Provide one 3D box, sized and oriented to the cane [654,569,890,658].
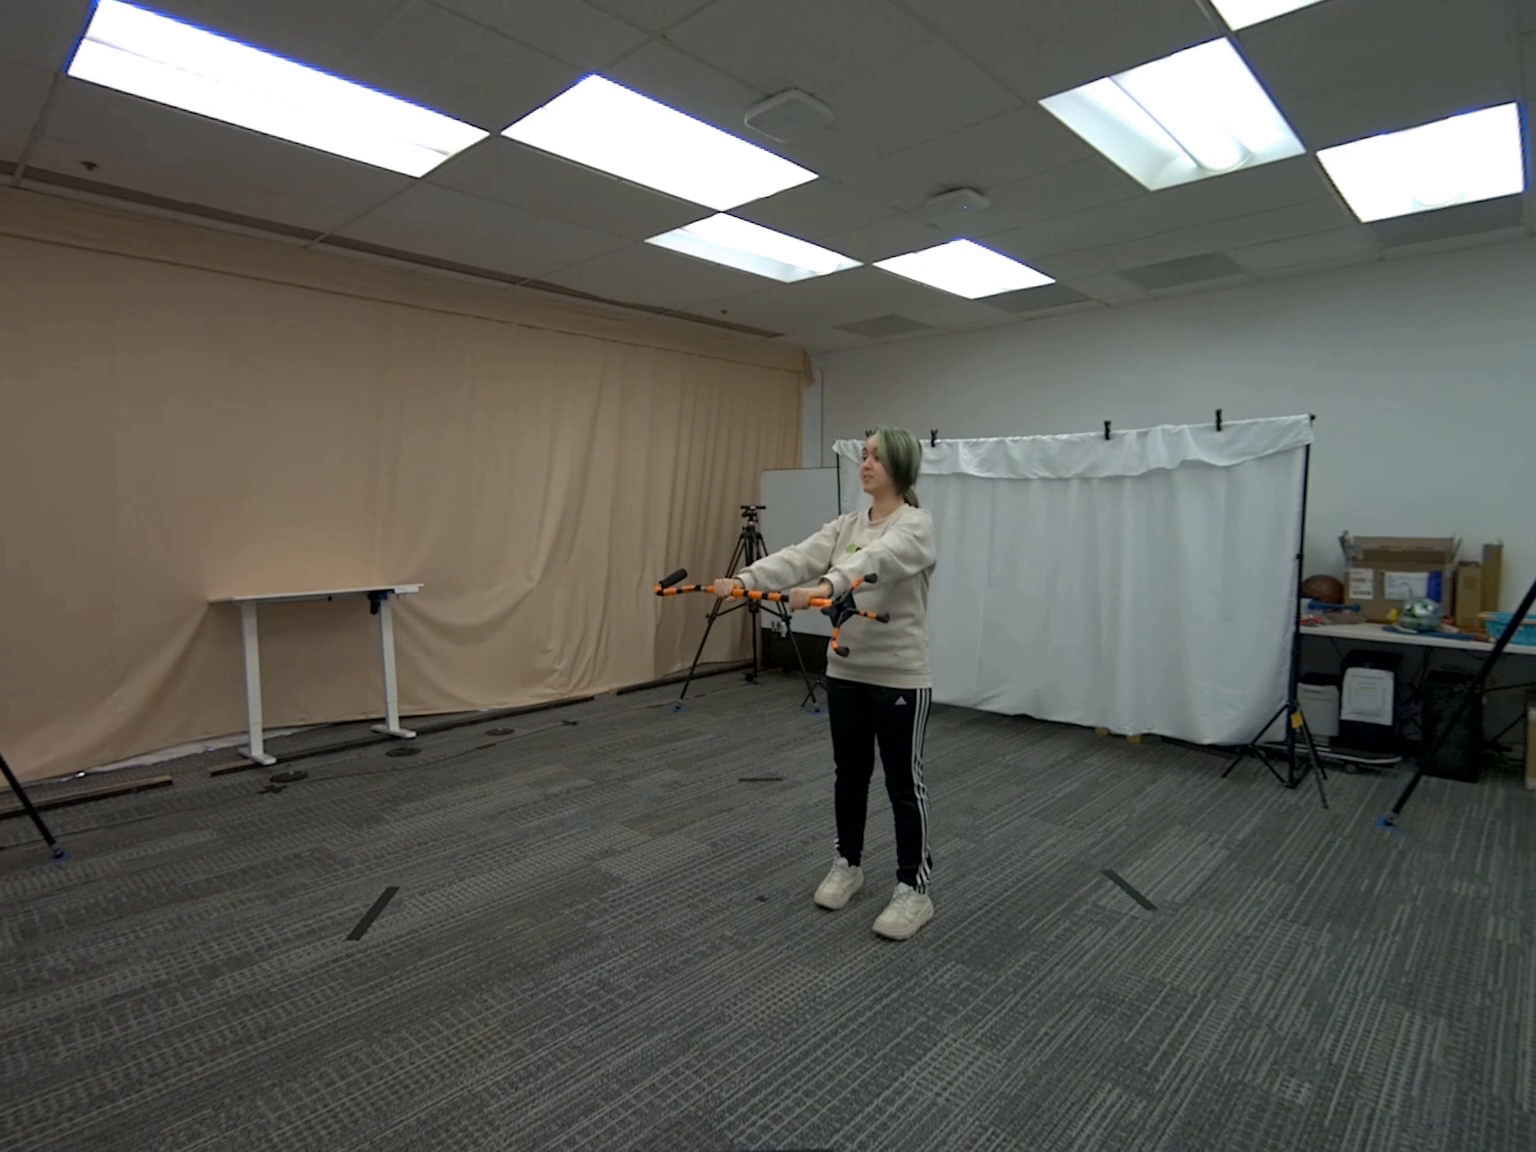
[{"bbox_3d":[-0.062,0.057,2.556,0.203,0.149,0.938,-33,23,-34],"label":"cane"}]
